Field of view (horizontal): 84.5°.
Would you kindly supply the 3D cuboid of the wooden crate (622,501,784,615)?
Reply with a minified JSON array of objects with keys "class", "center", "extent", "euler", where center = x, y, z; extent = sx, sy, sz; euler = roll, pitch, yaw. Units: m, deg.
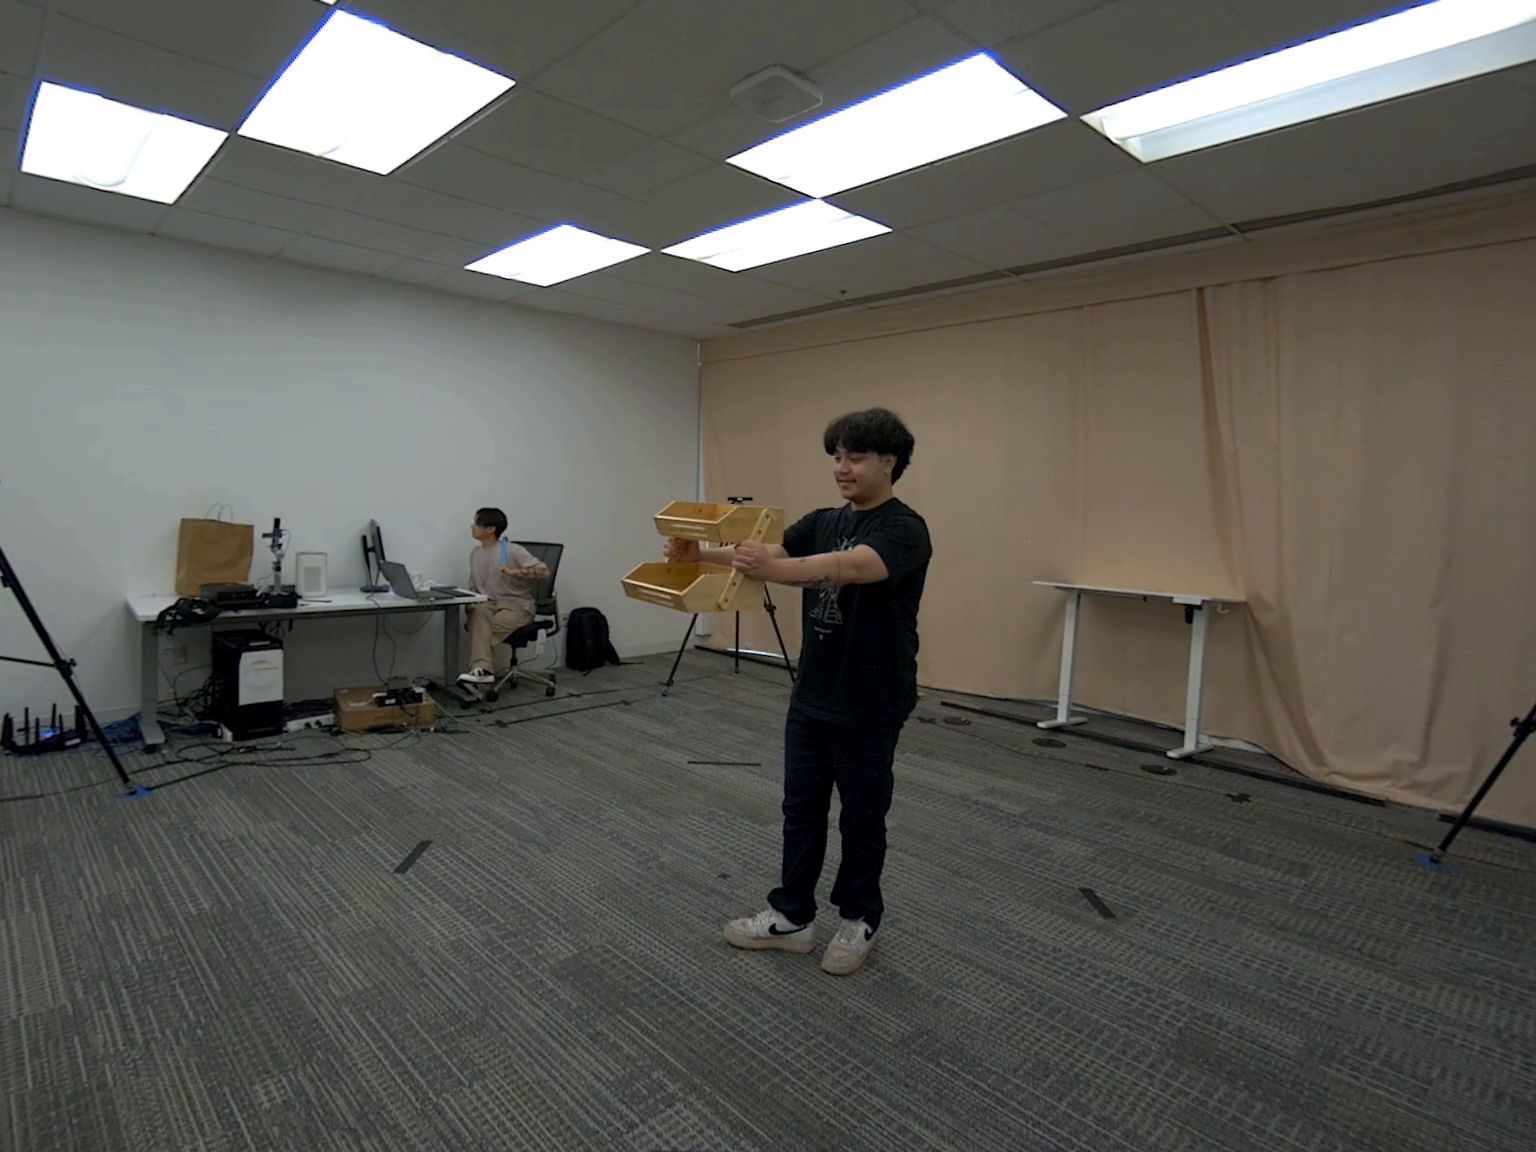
[{"class":"wooden crate","center":[-0.182,-0.059,2.189],"extent":[0.295,0.272,0.333],"euler":[0,6,-38]}]
